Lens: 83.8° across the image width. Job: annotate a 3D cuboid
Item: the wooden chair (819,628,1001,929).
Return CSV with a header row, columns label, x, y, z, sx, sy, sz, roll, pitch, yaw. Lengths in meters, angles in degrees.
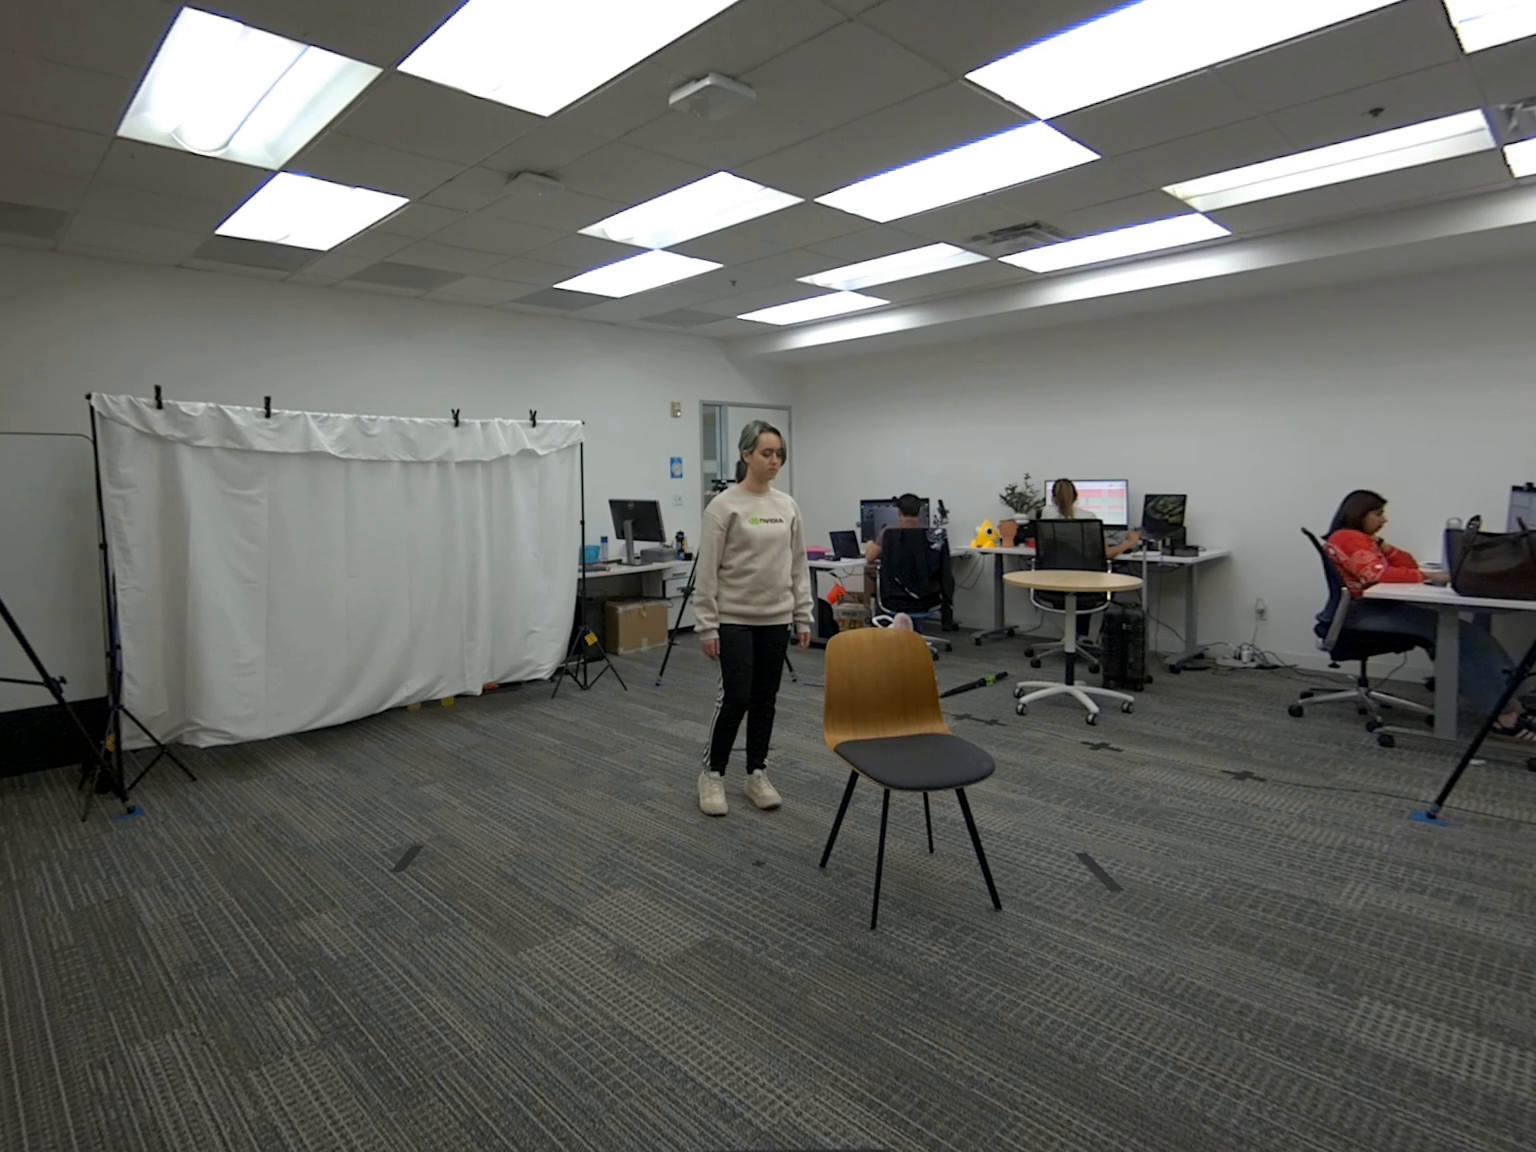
label,x,y,z,sx,sy,sz,roll,pitch,yaw
wooden chair,0.462,0.641,2.869,0.471,0.877,0.531,-2,0,-16
